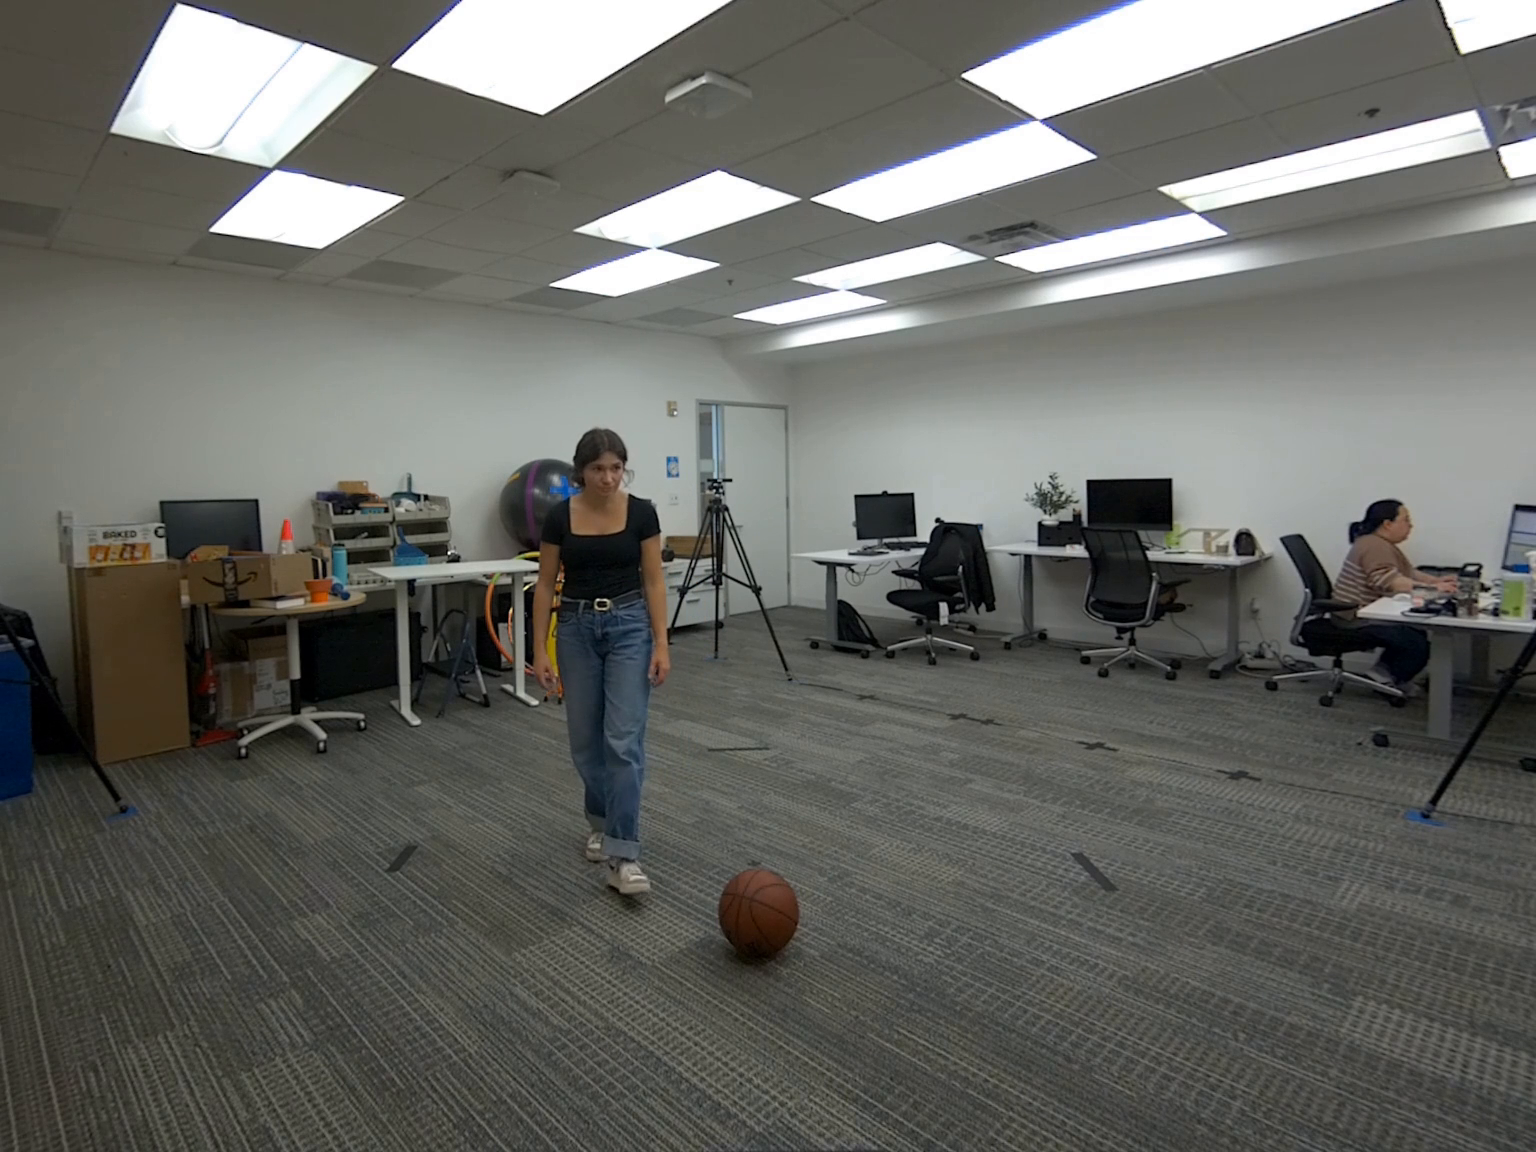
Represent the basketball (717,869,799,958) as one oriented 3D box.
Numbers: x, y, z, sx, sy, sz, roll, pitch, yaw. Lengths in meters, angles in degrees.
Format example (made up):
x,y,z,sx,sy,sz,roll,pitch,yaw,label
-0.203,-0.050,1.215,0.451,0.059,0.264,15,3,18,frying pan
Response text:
x,y,z,sx,sy,sz,roll,pitch,yaw,label
-0.021,0.992,2.525,0.236,0.235,0.237,-1,5,-2,basketball
